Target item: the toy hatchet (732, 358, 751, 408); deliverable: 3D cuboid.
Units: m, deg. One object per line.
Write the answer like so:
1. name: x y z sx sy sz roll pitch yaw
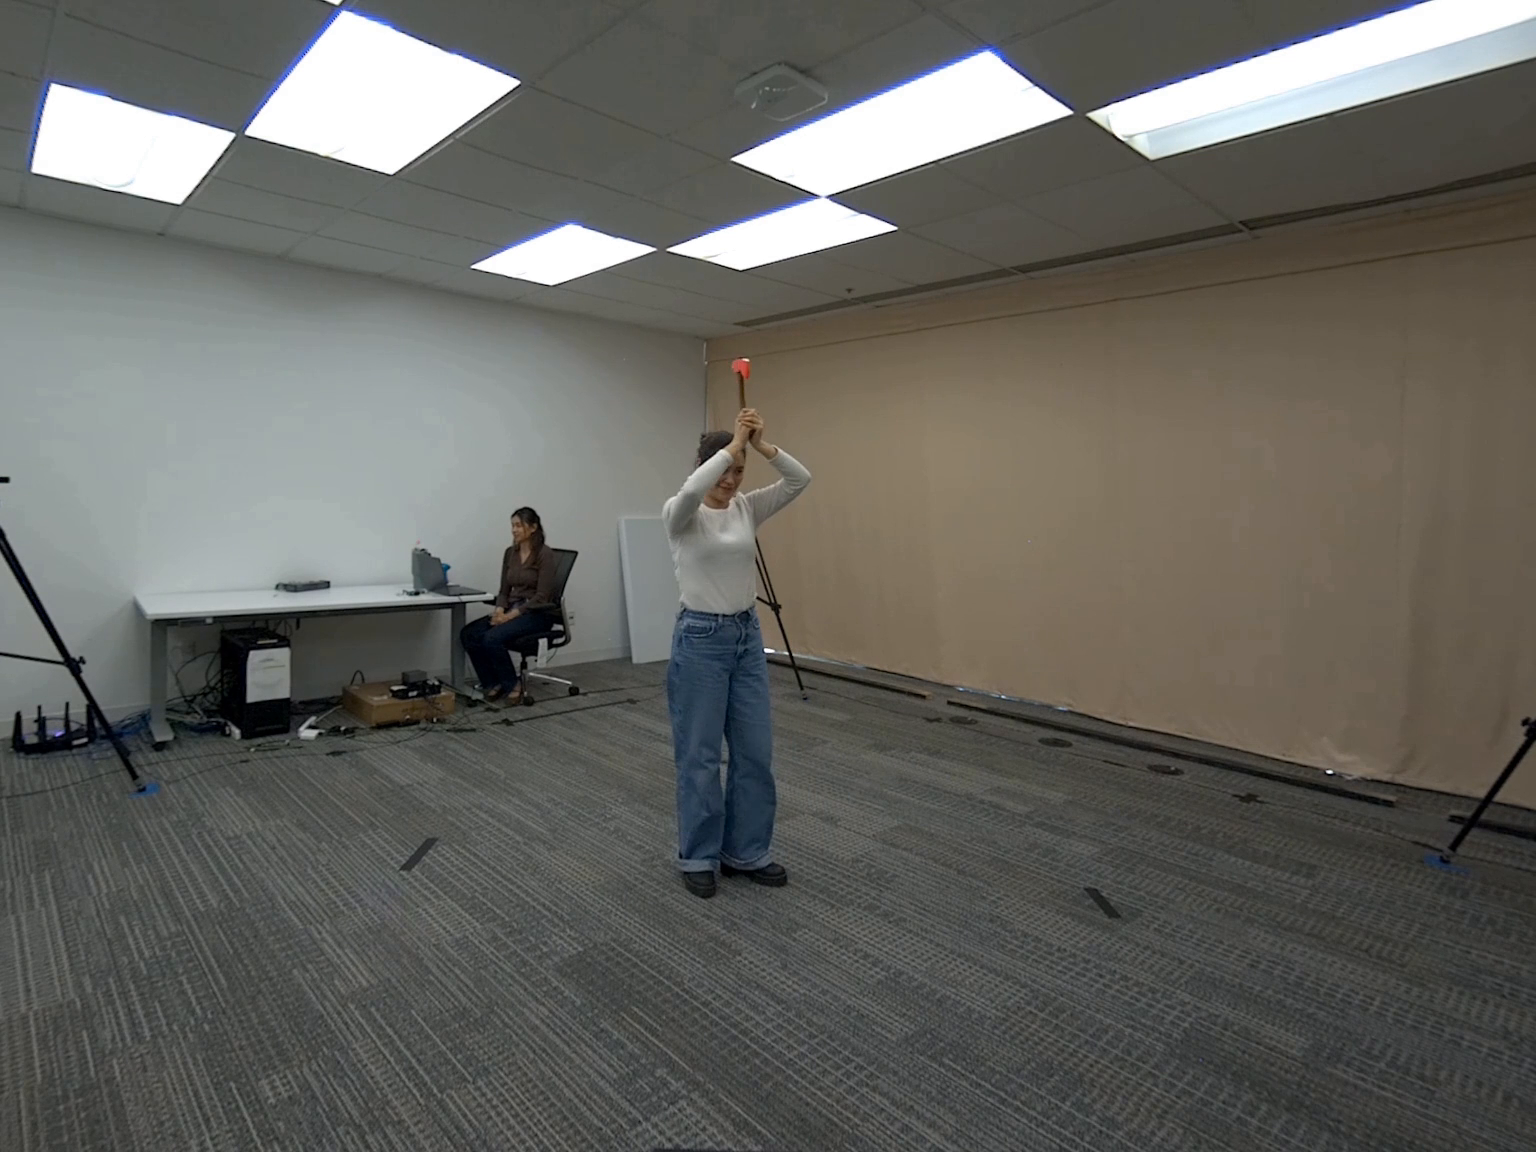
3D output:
1. toy hatchet: -0.080 -0.604 2.789 0.029 0.273 0.132 -3 -14 -23
